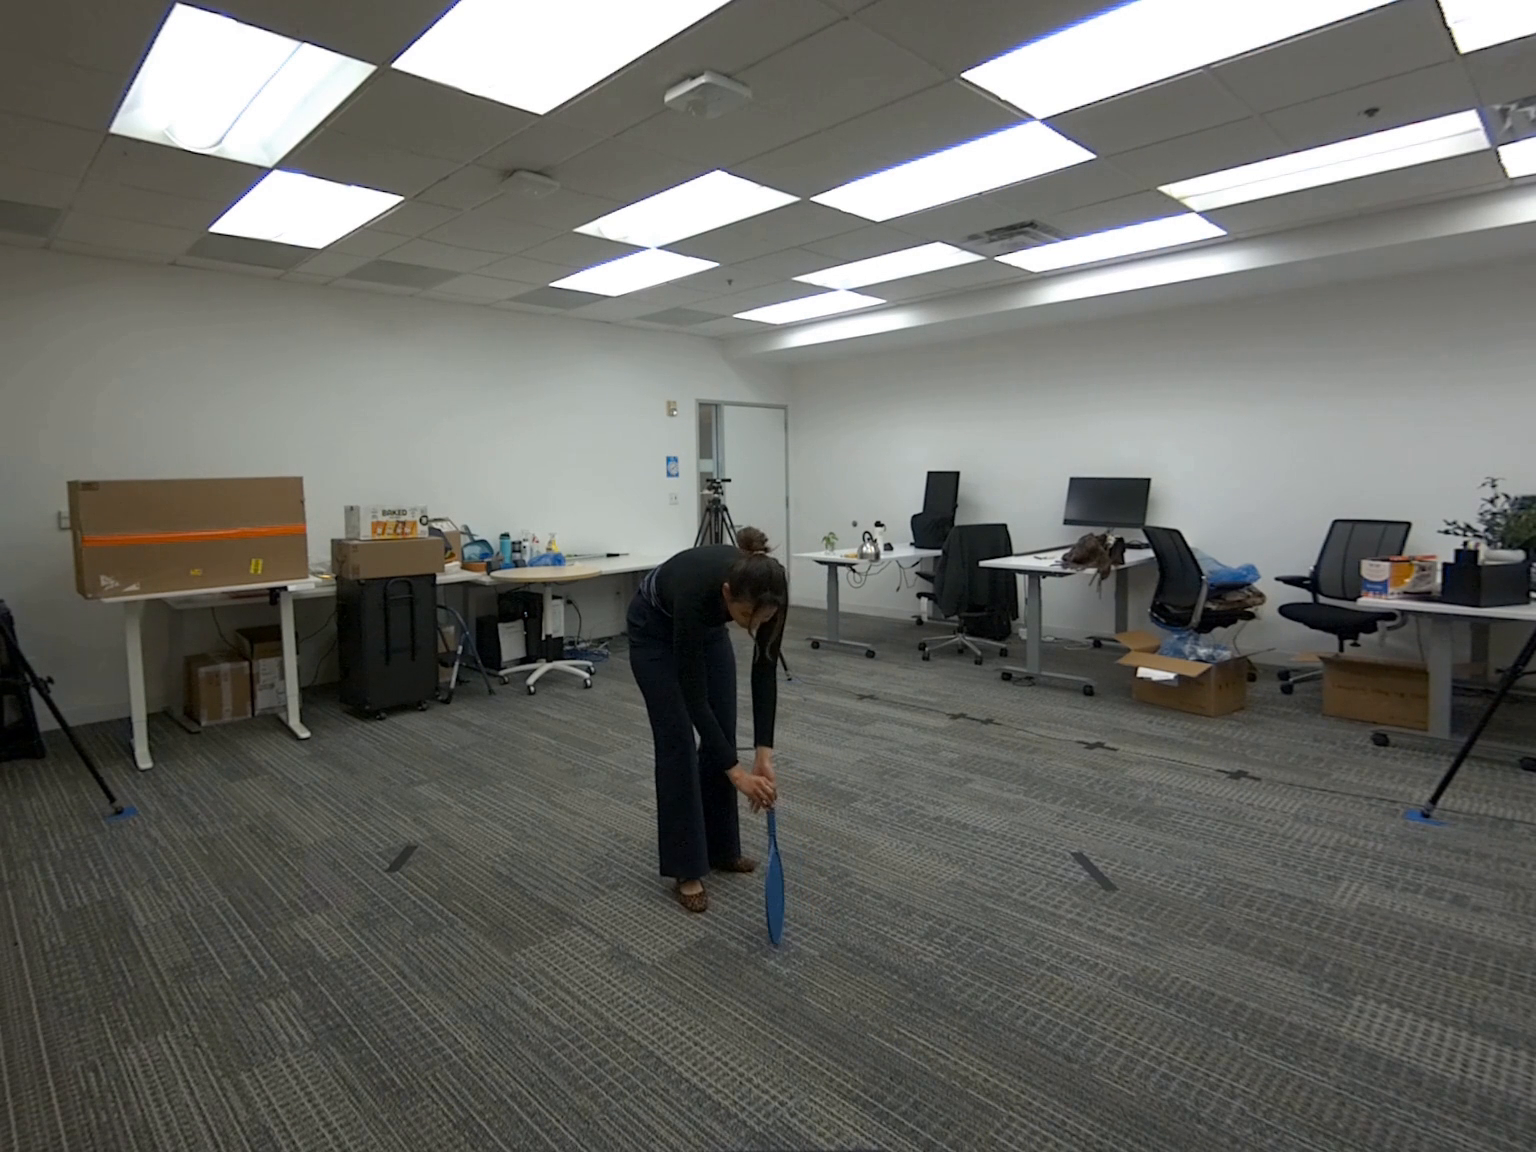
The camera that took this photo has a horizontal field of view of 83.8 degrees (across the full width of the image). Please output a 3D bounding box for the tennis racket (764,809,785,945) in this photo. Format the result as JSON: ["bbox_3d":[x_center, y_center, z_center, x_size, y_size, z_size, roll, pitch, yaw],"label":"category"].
[{"bbox_3d":[0.022,0.891,2.606,0.032,0.438,0.208,-5,-12,13],"label":"tennis racket"}]
